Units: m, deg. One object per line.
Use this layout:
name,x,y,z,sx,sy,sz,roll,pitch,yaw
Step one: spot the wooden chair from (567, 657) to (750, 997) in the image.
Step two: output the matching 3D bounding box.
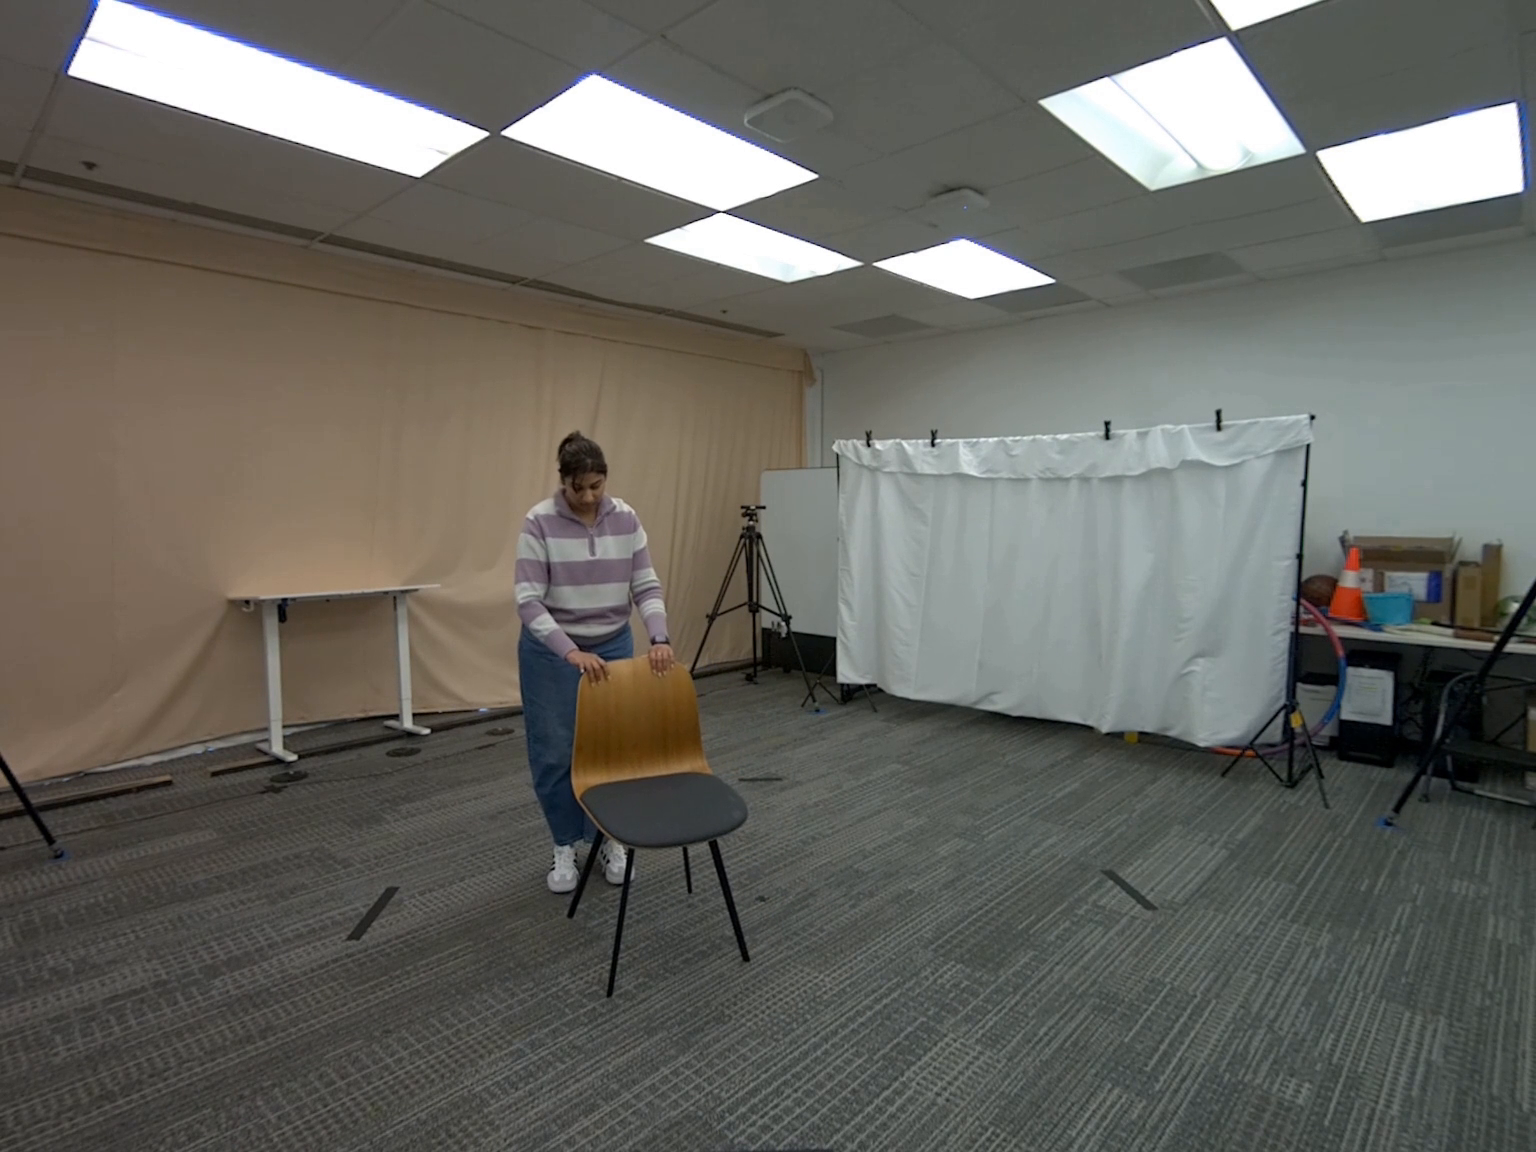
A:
wooden chair,-0.340,0.737,2.615,0.466,0.876,0.537,-2,3,-27
